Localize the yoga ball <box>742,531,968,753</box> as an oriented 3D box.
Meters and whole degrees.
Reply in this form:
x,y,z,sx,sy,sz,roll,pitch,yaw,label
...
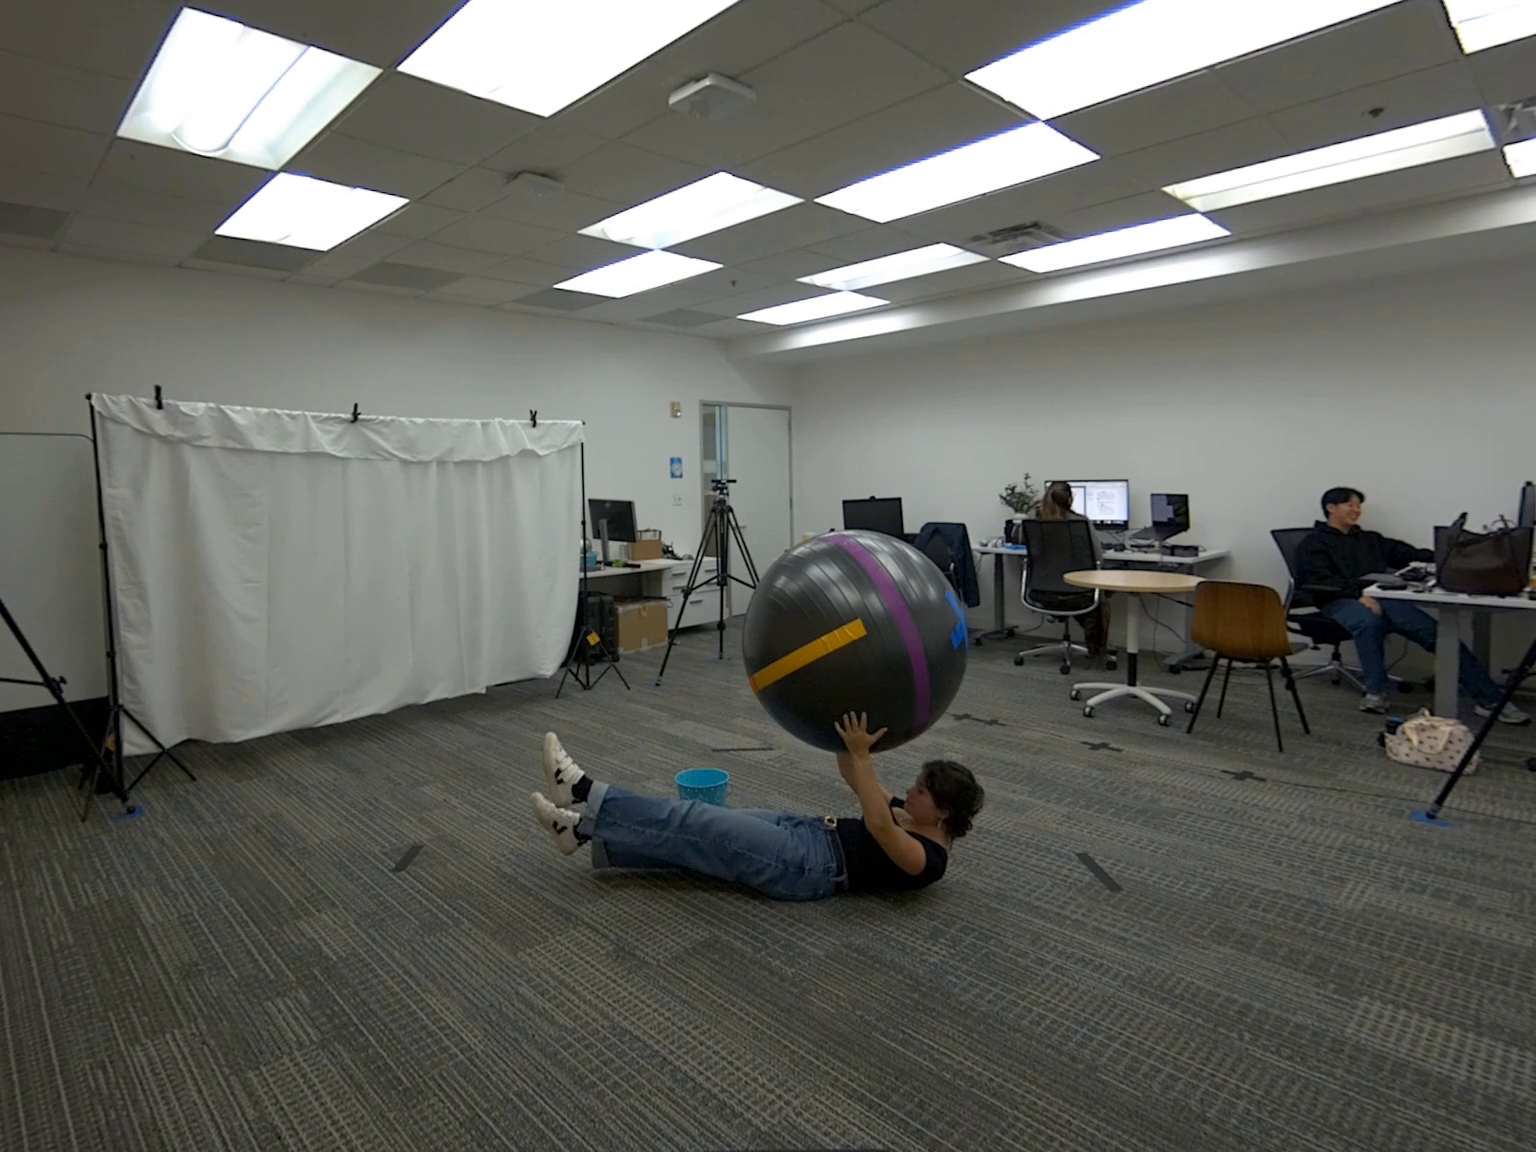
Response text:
x,y,z,sx,sy,sz,roll,pitch,yaw,label
0.291,0.223,2.920,0.757,0.755,0.762,-1,5,-2,yoga ball
